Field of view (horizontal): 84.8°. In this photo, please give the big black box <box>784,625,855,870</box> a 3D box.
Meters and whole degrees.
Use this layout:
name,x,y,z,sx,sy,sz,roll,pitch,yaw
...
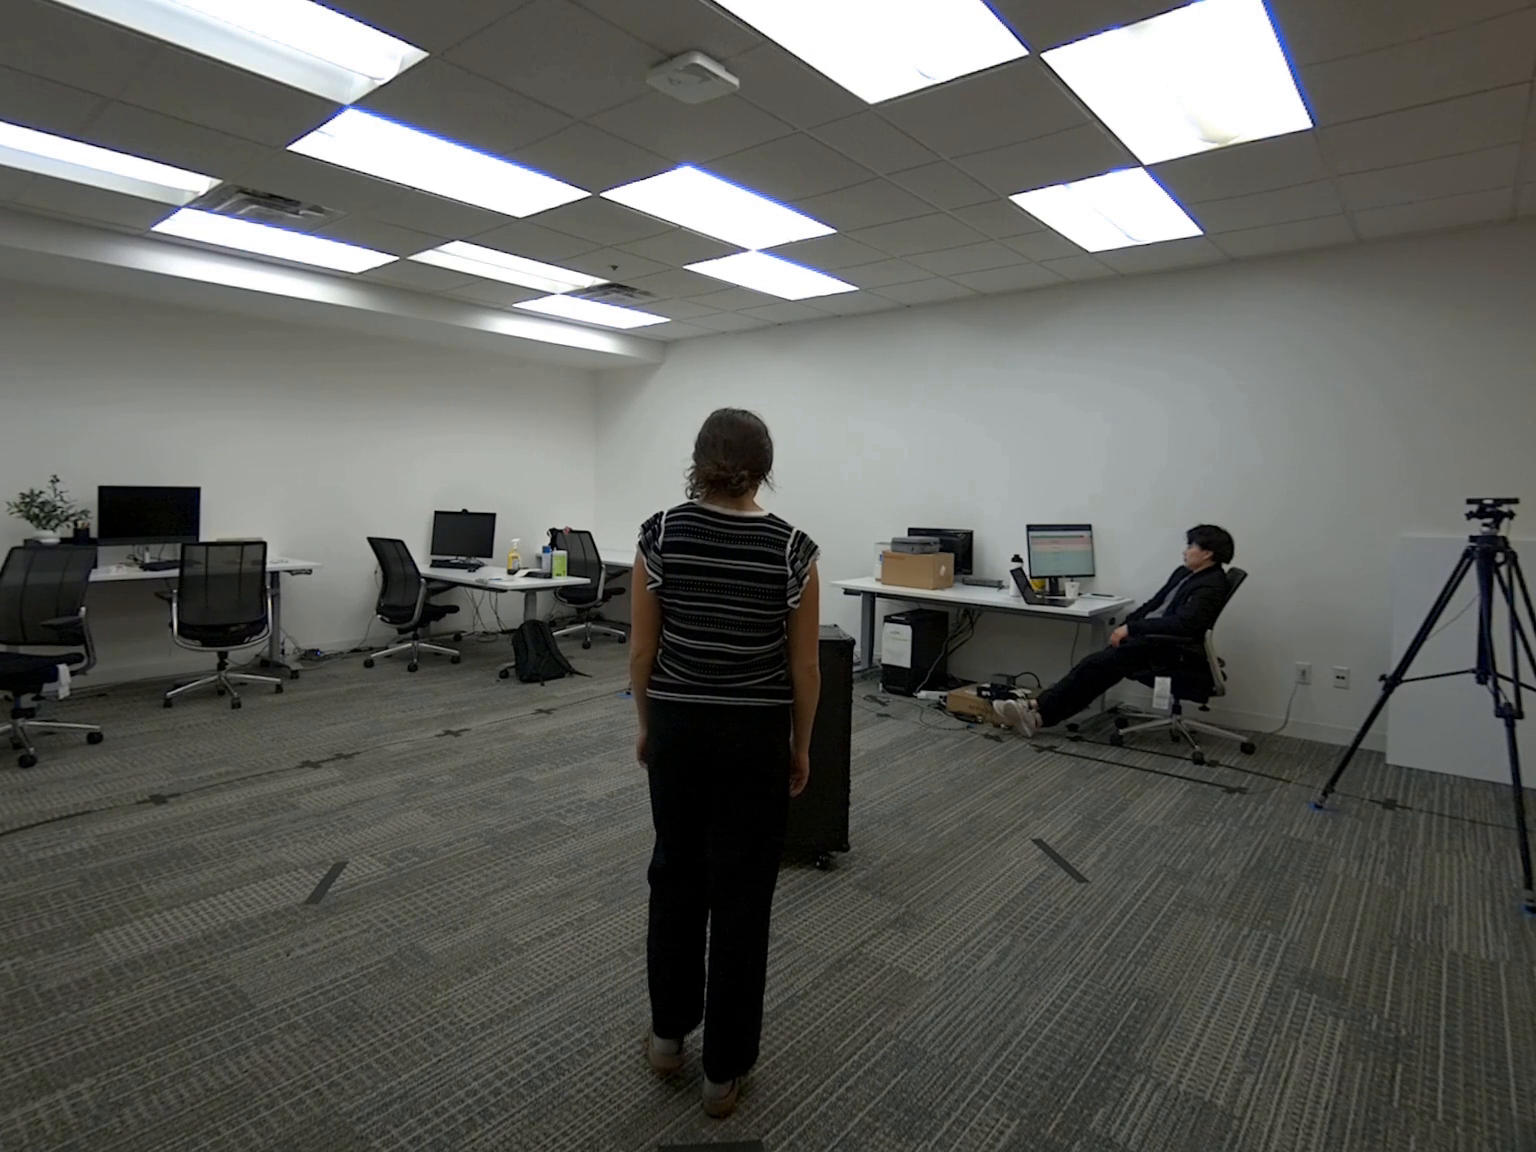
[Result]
name,x,y,z,sx,sy,sz,roll,pitch,yaw
big black box,0.037,0.632,3.276,0.520,0.860,0.398,0,2,-3
